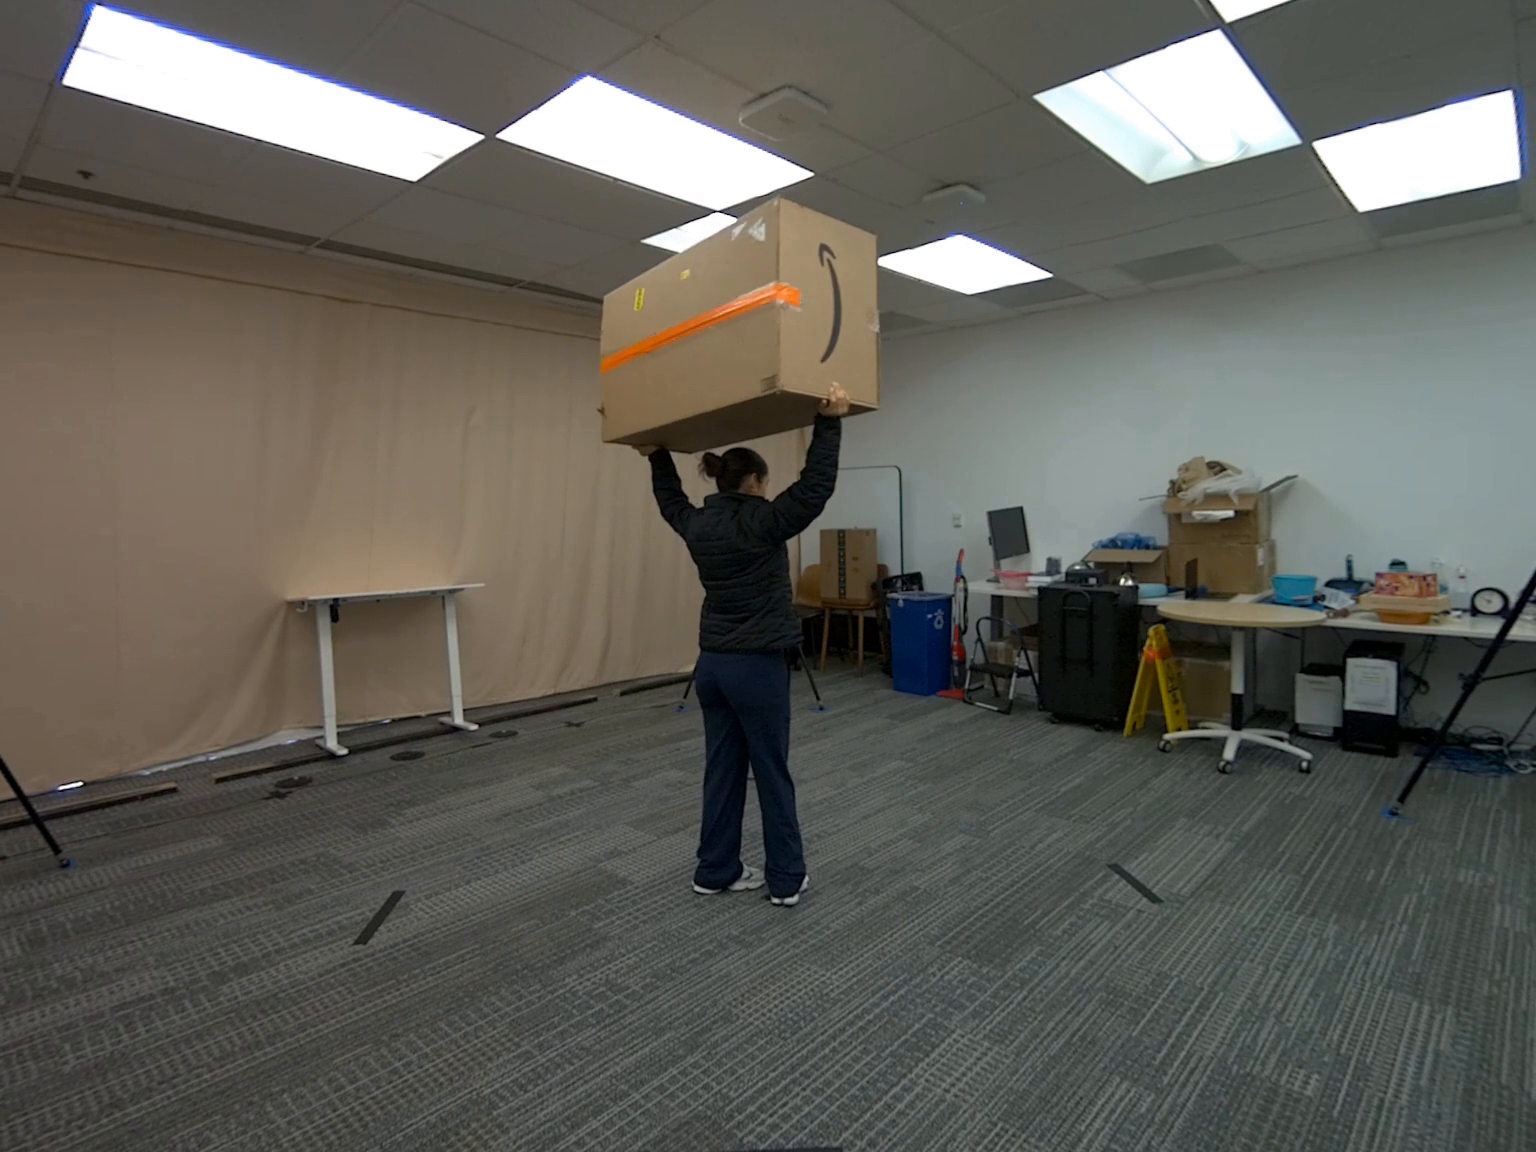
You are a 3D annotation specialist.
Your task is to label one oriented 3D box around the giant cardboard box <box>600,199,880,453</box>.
[{"bbox_3d":[-0.128,-0.792,2.944,0.433,0.585,1.058,1,-3,-40],"label":"giant cardboard box"}]
